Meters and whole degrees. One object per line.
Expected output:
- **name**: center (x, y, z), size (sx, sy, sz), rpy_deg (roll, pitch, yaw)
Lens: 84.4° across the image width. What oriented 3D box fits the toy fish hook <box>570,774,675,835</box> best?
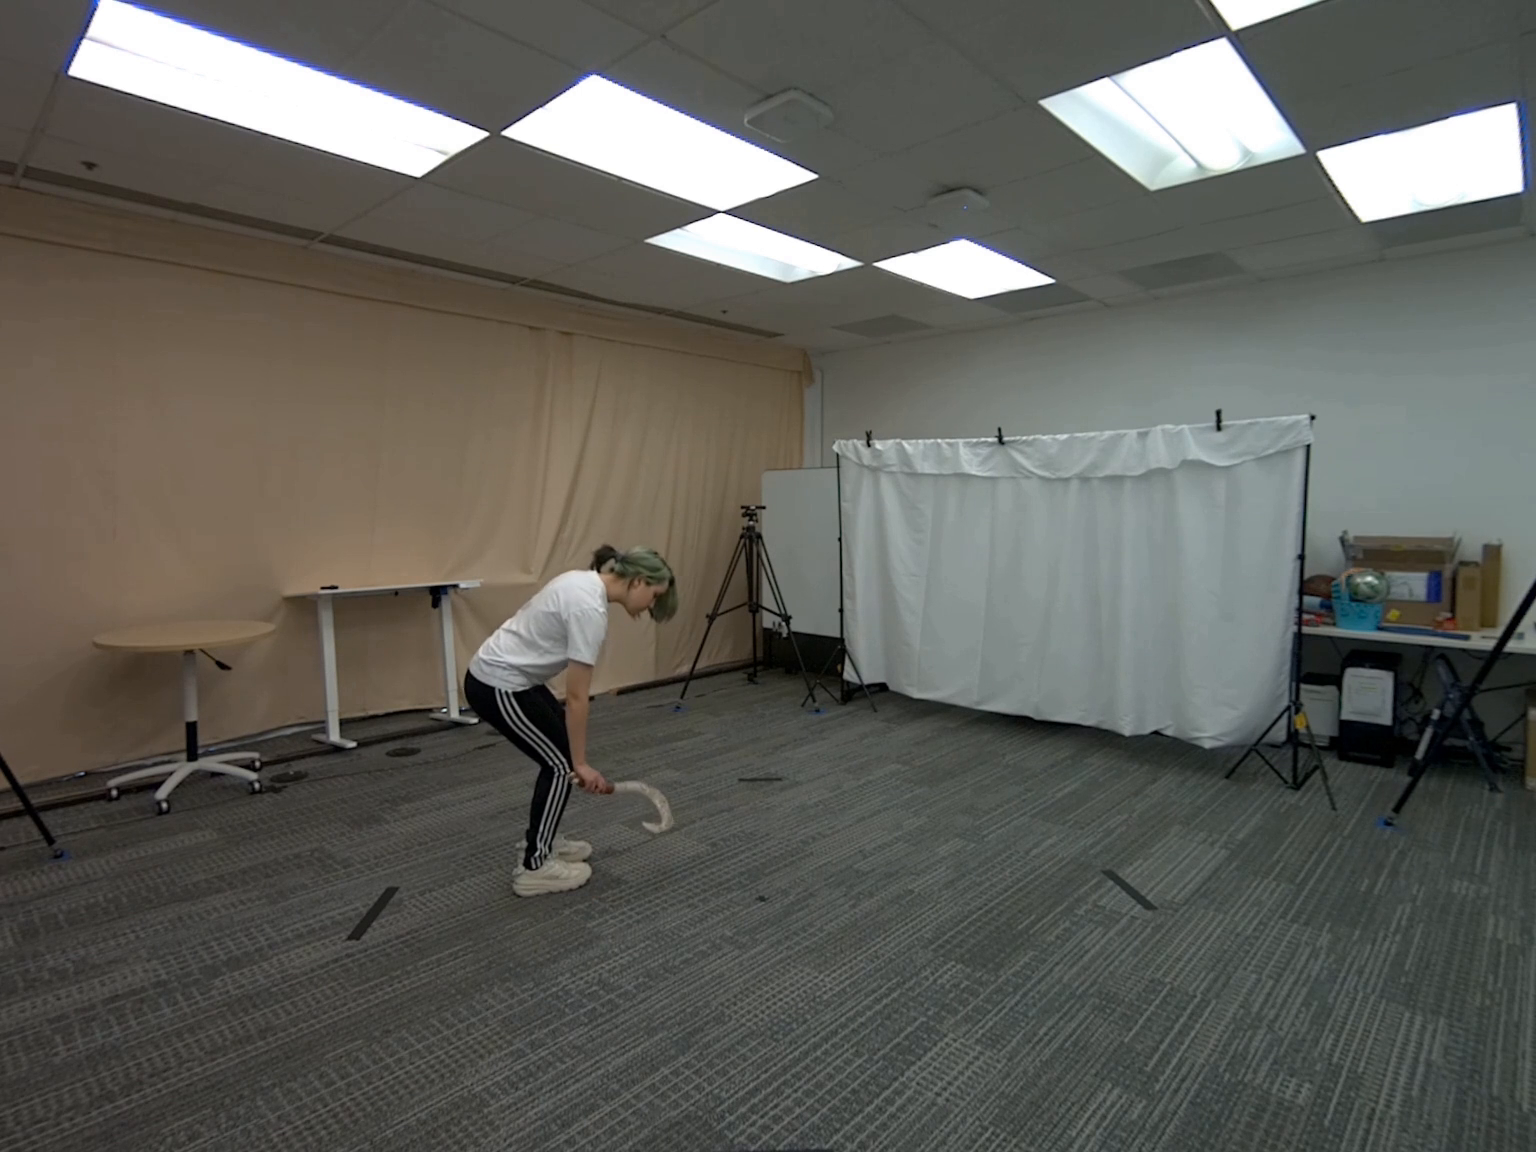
- **toy fish hook**: center (-0.528, 0.830, 3.075), size (0.488, 0.048, 0.232), rpy_deg (31, 18, -43)
